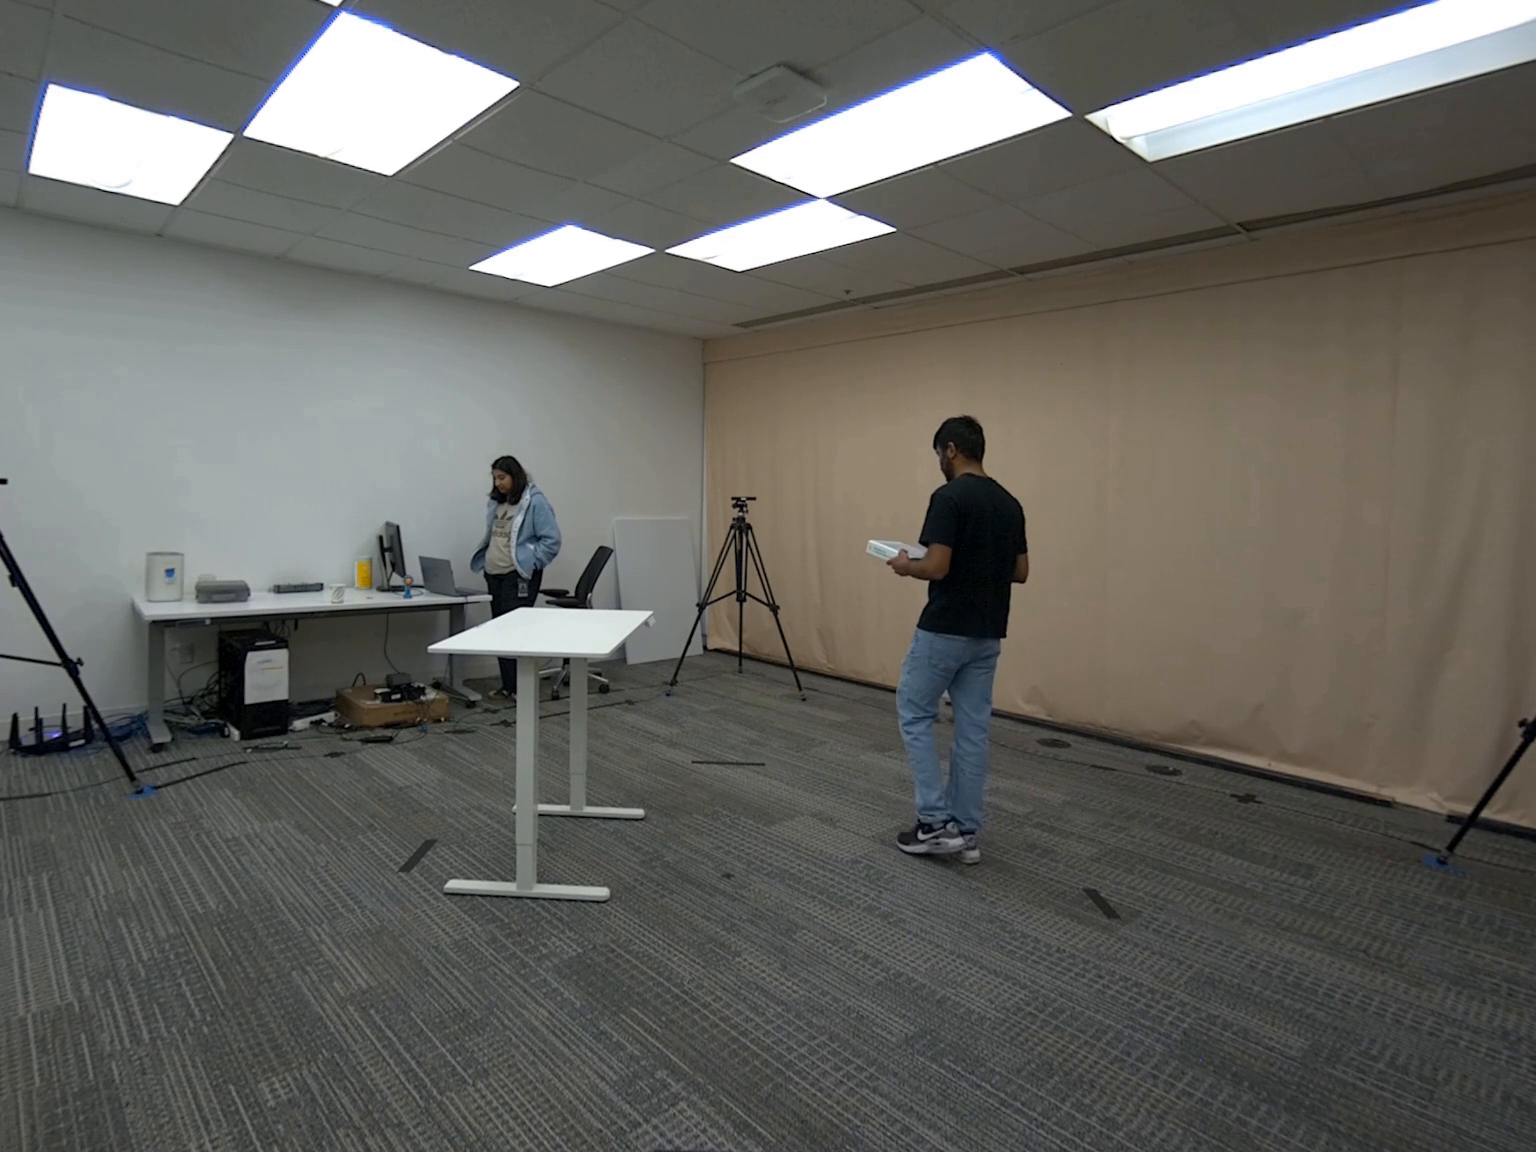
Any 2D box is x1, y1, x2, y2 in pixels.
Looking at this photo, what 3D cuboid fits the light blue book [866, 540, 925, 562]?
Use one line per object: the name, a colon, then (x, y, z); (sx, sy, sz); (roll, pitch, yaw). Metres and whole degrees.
light blue book: (0.567, -0.085, 3.585); (0.187, 0.058, 0.269); (3, 15, -36)
